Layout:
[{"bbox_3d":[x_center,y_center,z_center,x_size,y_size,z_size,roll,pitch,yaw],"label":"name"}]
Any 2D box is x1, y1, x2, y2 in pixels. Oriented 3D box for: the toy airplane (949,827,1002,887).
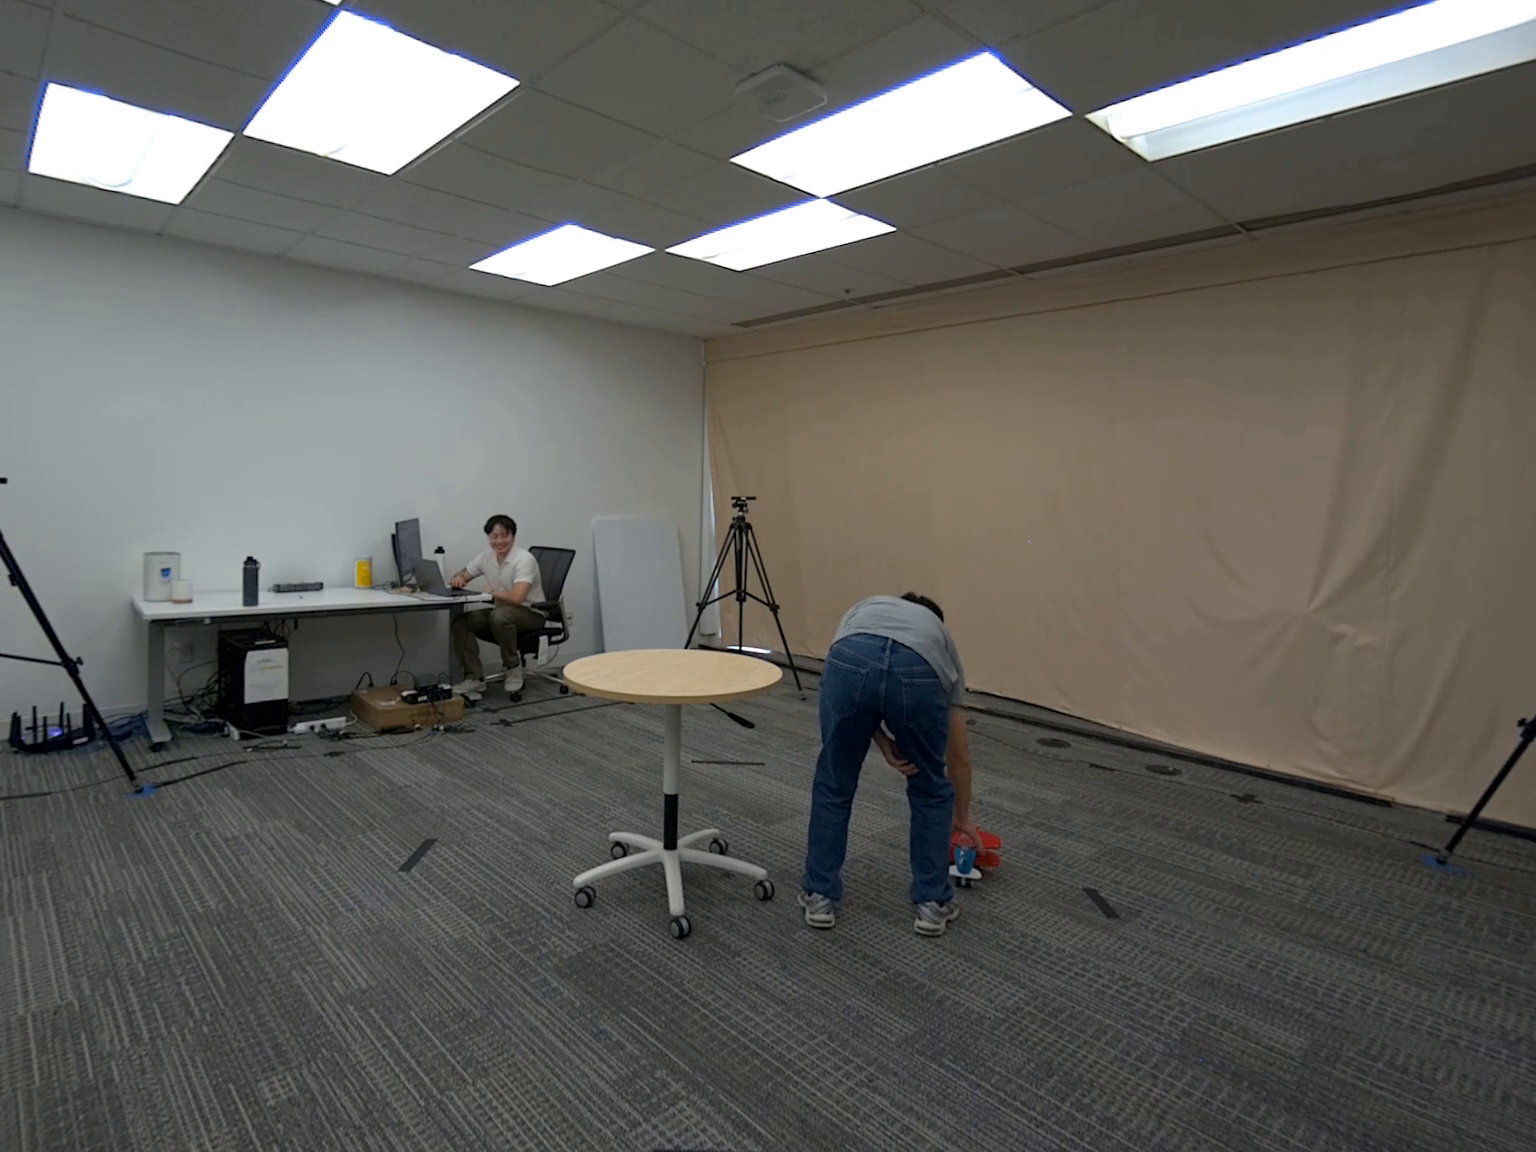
[{"bbox_3d":[0.749,1.052,3.148,0.248,0.156,0.262,1,4,-13],"label":"toy airplane"}]
